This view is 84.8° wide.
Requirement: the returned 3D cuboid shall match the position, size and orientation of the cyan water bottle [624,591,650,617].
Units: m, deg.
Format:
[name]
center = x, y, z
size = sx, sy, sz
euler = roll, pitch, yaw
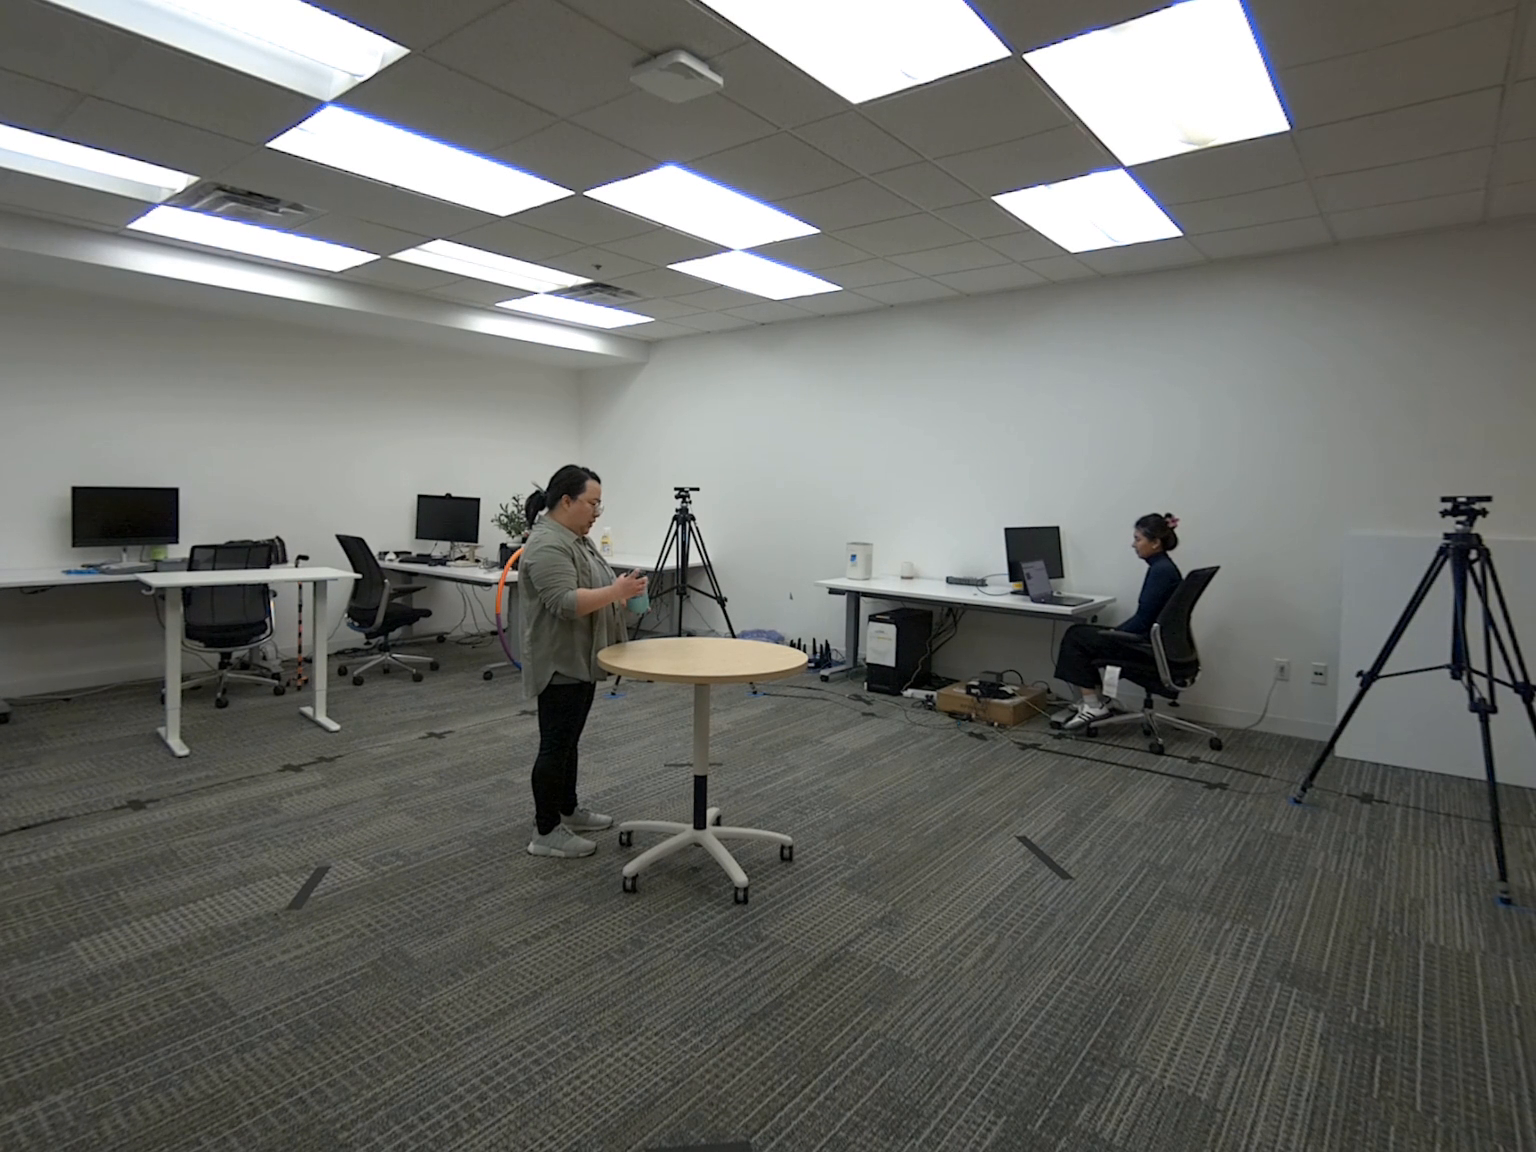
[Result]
[cyan water bottle]
center = -0.527, 0.066, 3.263
size = 0.093, 0.094, 0.276
euler = 2, -25, 4
